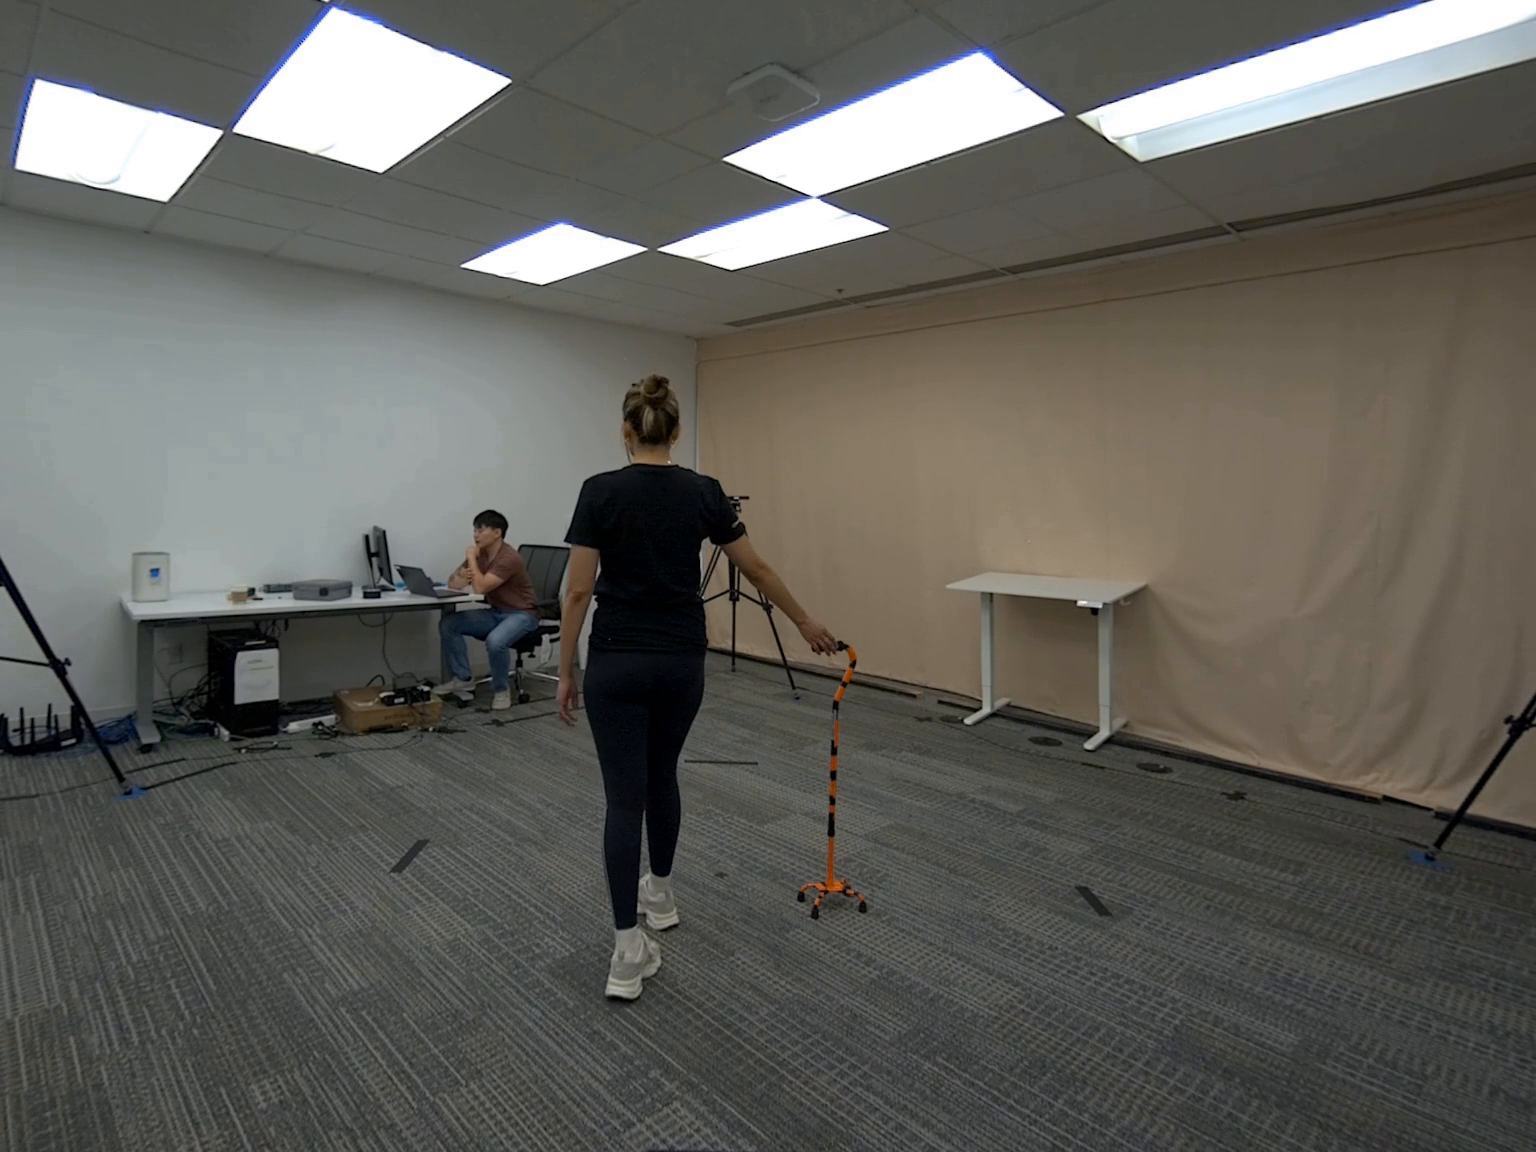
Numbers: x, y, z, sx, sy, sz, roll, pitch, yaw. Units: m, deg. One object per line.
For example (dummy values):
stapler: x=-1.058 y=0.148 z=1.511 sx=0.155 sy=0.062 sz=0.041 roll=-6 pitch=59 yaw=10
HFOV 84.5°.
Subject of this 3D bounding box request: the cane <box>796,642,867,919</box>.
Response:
cane: x=0.225 y=0.681 z=2.860 sx=0.204 sy=0.906 sz=0.154 roll=1 pitch=3 yaw=-17
